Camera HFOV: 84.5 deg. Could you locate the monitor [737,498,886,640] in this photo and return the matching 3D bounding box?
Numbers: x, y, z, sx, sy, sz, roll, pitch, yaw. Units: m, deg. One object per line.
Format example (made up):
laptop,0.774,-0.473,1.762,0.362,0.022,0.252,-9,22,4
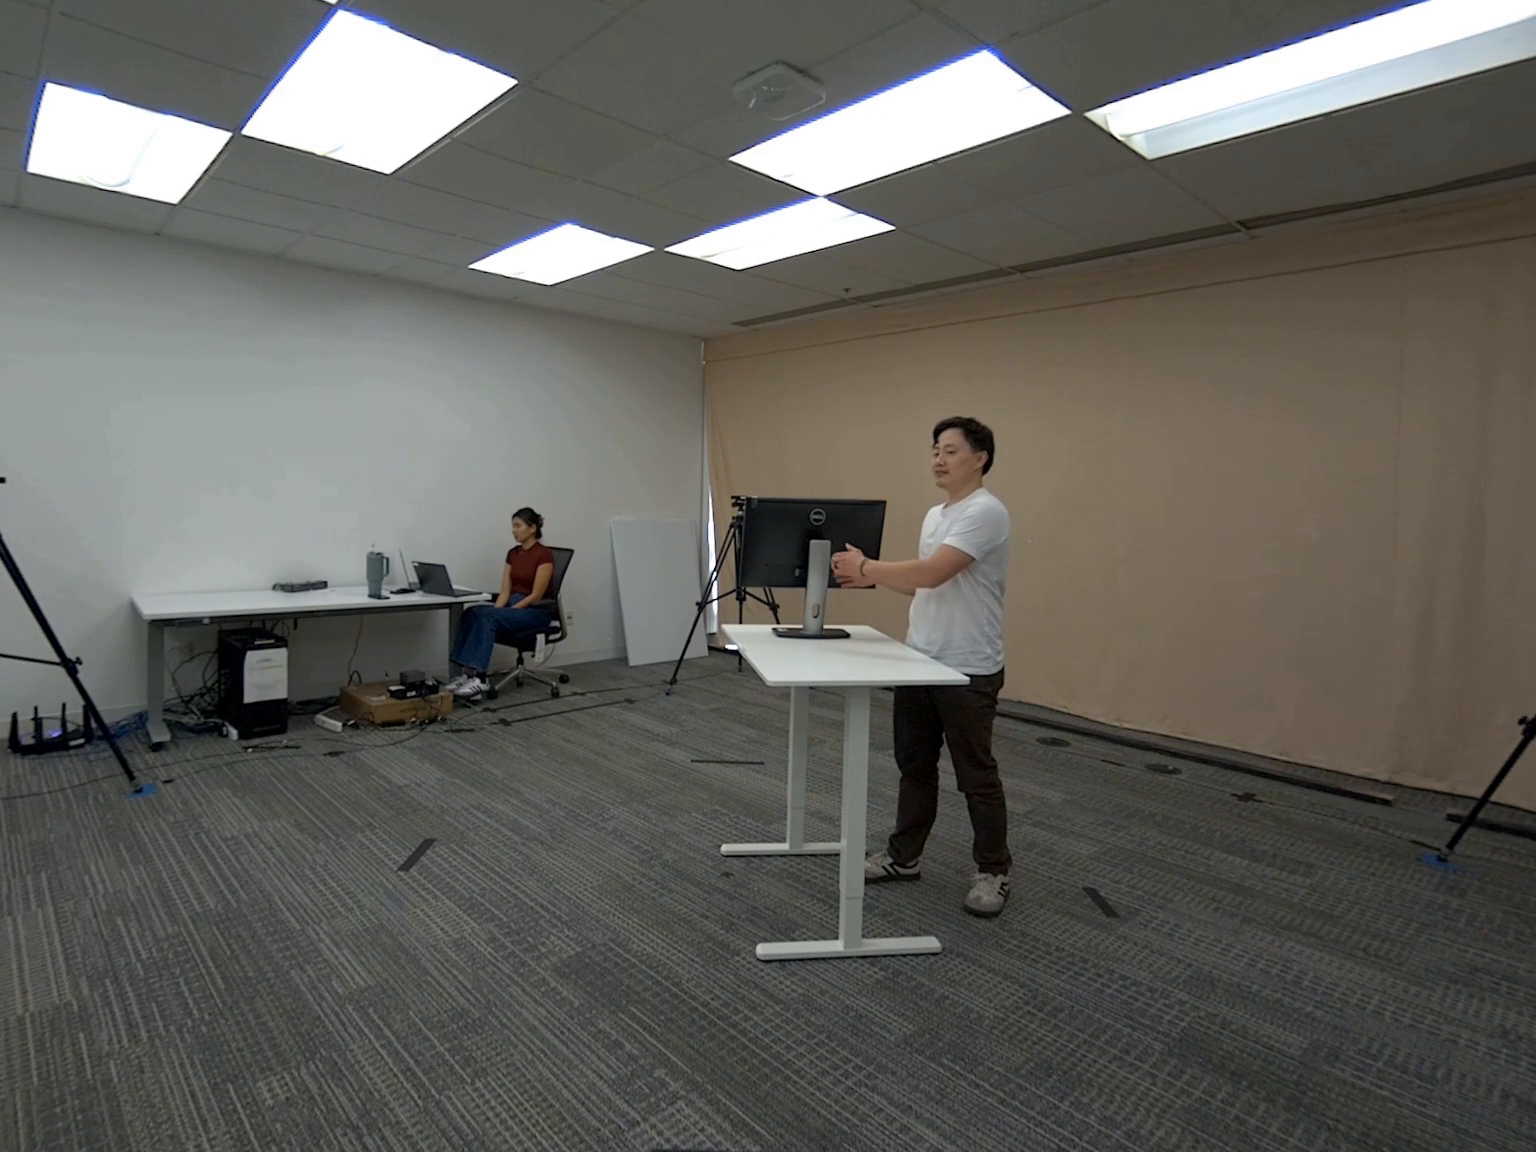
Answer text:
monitor,0.171,-0.029,3.124,0.534,0.520,0.190,0,6,-12
